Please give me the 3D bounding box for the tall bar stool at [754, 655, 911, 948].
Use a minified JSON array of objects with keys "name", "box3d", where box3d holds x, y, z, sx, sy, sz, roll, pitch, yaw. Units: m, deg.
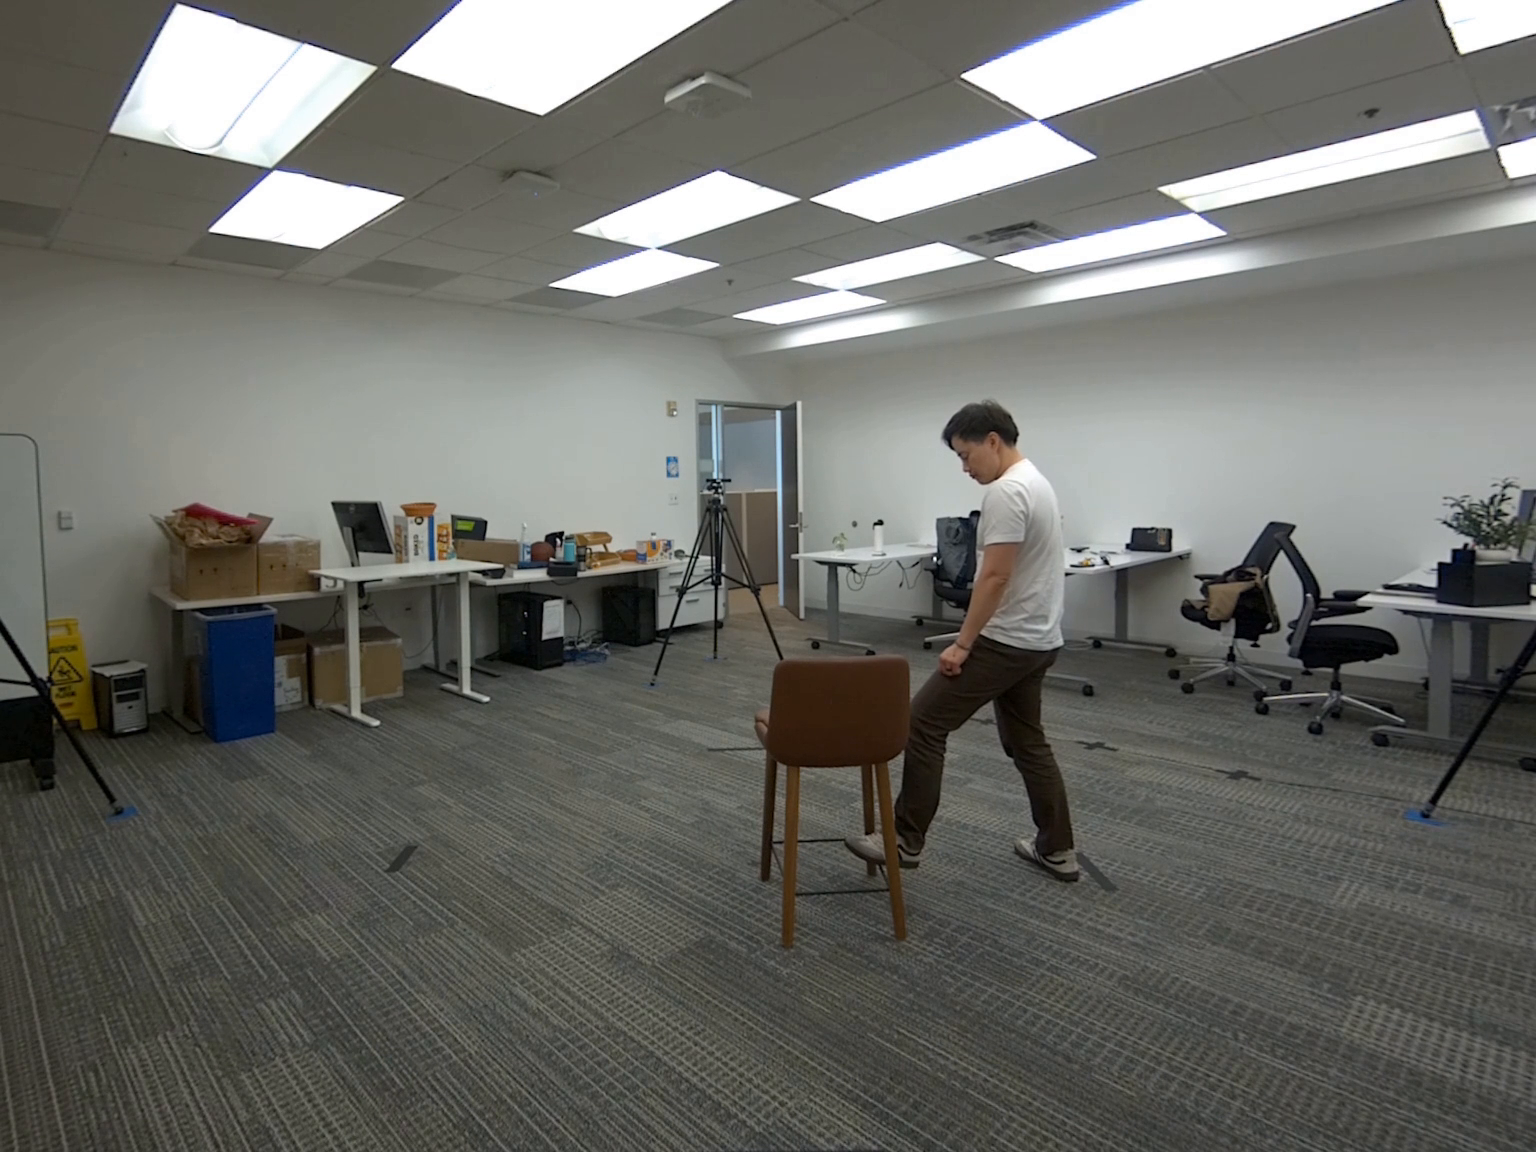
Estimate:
[{"name":"tall bar stool","box3d":[0.197,0.646,2.744,0.454,0.885,0.472,-1,6,-5]}]
